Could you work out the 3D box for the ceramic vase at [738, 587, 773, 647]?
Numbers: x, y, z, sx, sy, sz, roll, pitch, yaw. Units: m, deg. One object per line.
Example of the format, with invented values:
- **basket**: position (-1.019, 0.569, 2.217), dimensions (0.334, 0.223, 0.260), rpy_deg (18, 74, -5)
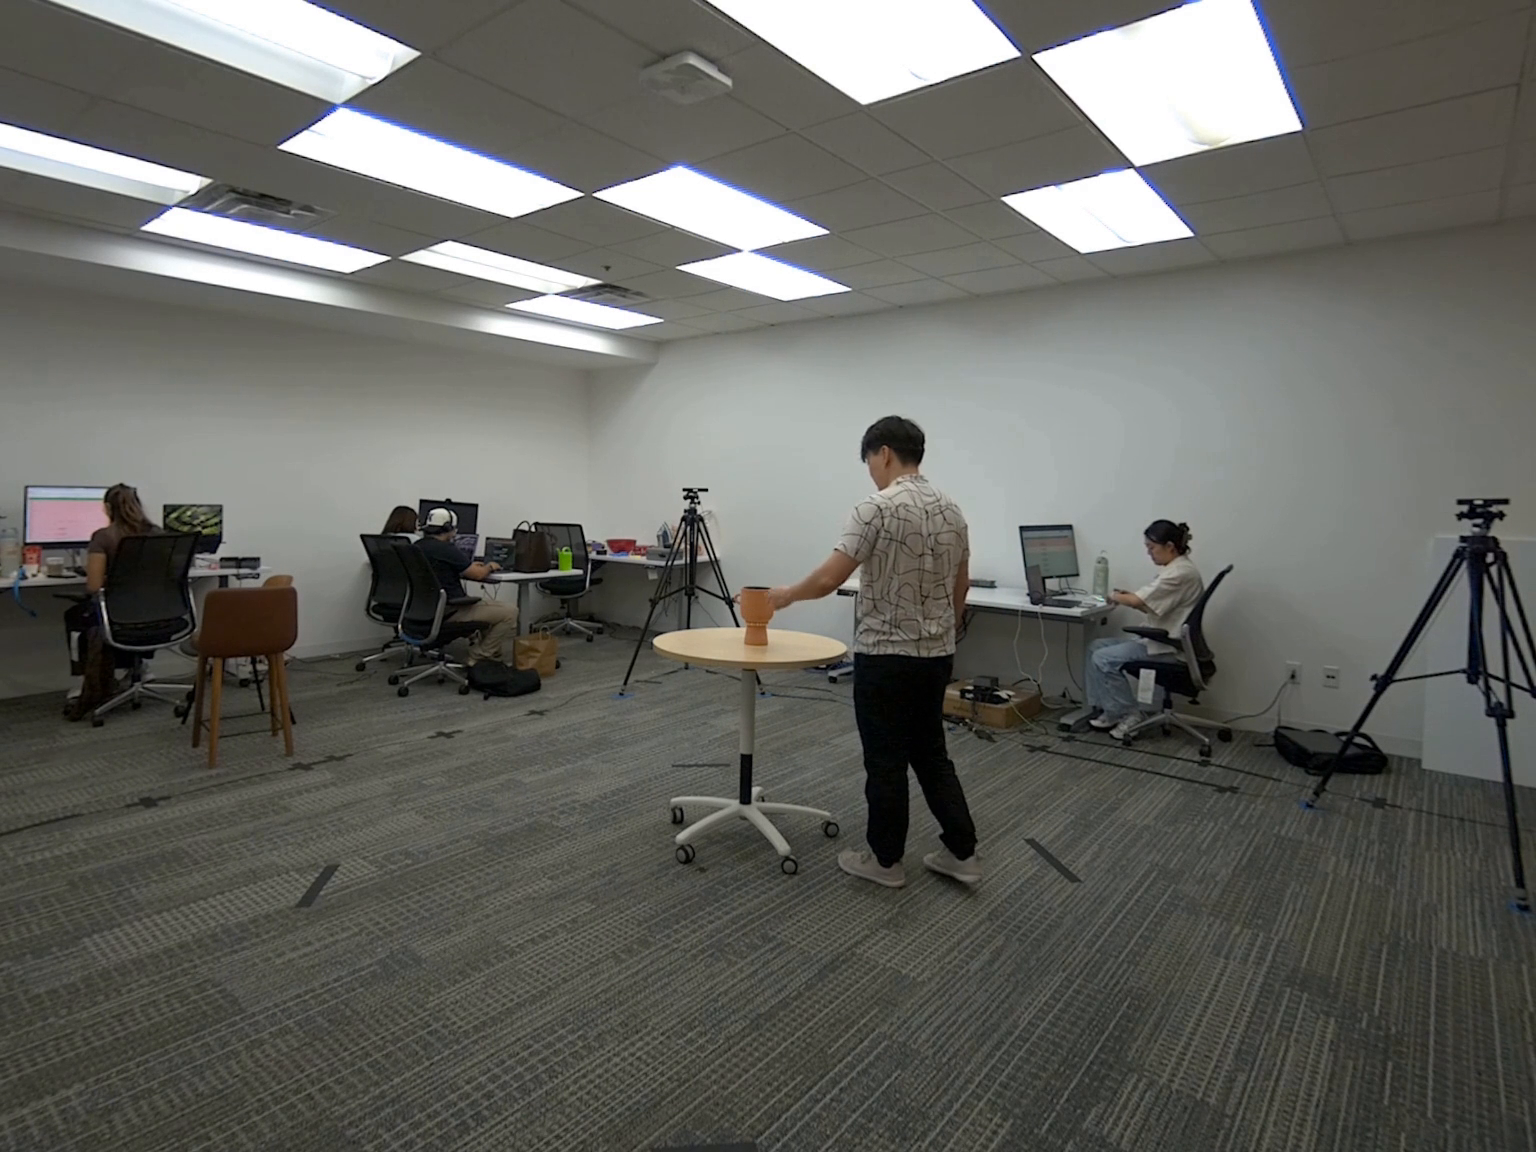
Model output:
- **ceramic vase**: position (-0.052, 0.156, 3.362), dimensions (0.131, 0.219, 0.163), rpy_deg (1, 4, -28)
